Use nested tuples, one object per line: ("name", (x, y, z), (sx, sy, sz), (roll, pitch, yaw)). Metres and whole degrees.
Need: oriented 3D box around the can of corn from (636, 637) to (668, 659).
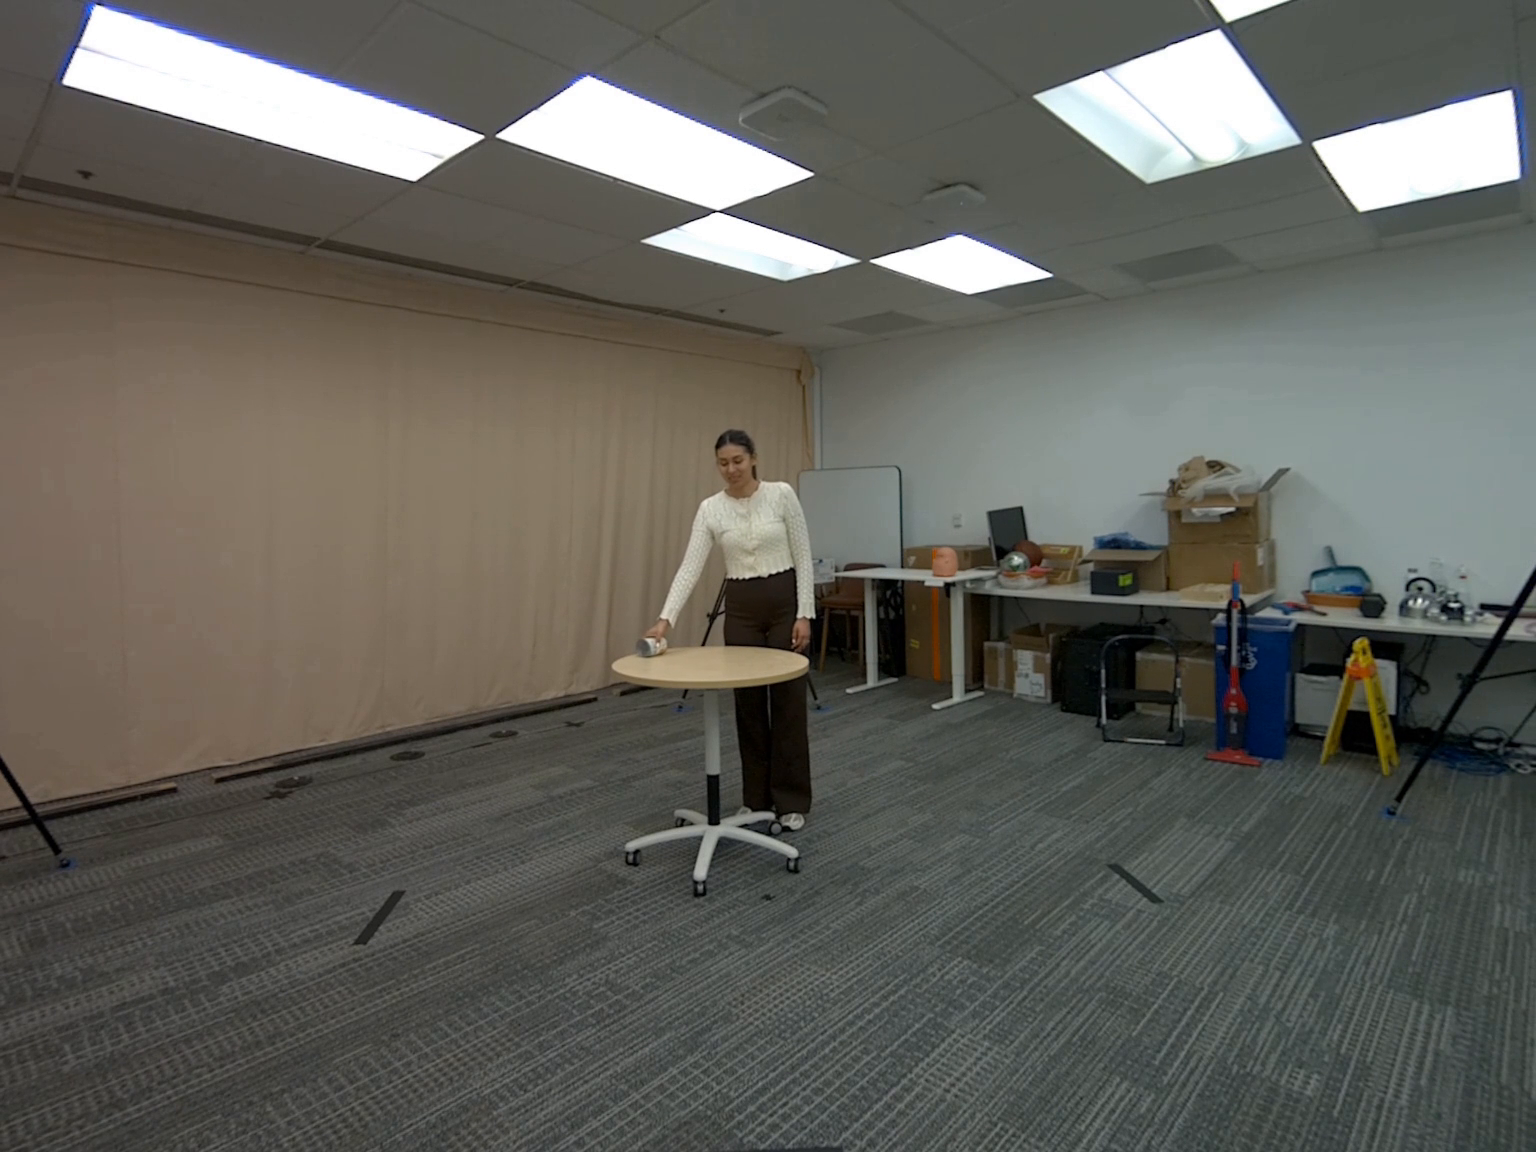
("can of corn", (-0.467, 0.286, 3.455), (0.076, 0.074, 0.108), (2, 5, 37))
